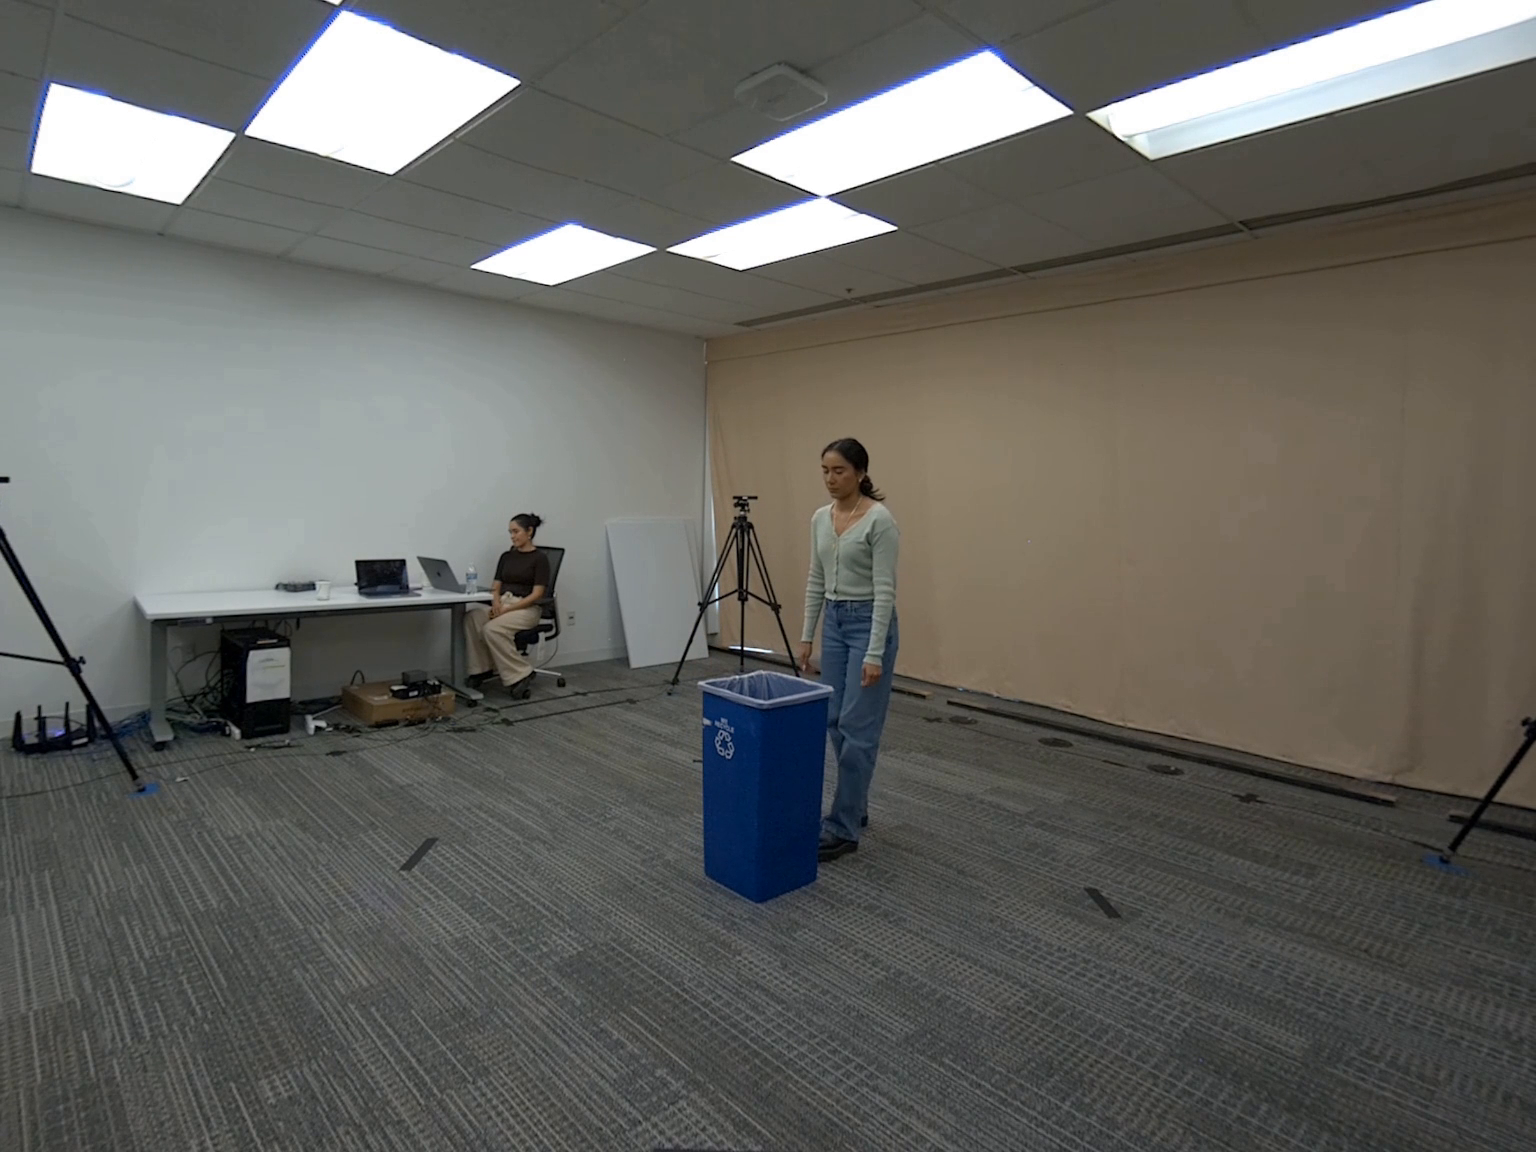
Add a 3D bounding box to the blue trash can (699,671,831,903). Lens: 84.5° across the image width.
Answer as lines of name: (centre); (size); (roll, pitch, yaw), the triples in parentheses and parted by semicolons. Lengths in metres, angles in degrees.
blue trash can: (-0.021, 0.751, 3.065); (0.369, 0.712, 0.383); (-2, 5, -42)
